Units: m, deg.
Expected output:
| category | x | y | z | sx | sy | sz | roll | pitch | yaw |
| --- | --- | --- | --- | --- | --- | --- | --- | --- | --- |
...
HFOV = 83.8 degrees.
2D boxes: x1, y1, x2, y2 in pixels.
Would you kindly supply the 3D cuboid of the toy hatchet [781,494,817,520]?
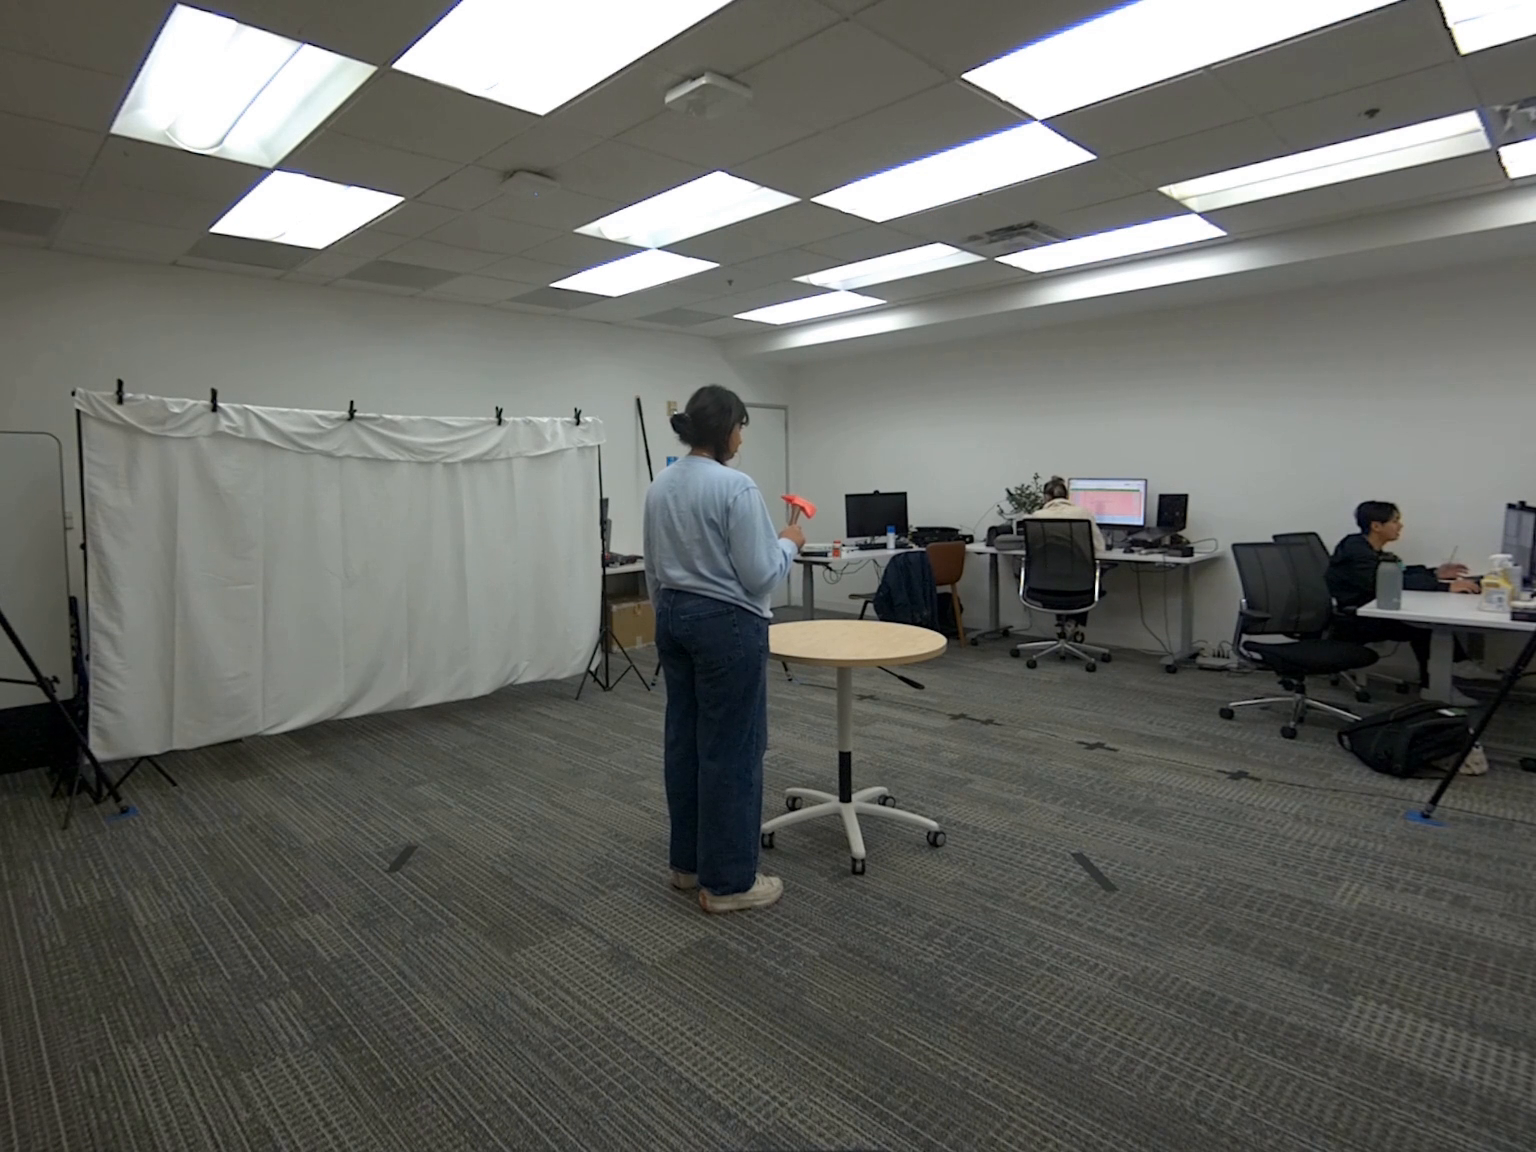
| category | x | y | z | sx | sy | sz | roll | pitch | yaw |
| --- | --- | --- | --- | --- | --- | --- | --- | --- | --- |
| toy hatchet | 0.110 | -0.178 | 2.984 | 0.128 | 0.278 | 0.029 | 7 | -42 | -18 |
